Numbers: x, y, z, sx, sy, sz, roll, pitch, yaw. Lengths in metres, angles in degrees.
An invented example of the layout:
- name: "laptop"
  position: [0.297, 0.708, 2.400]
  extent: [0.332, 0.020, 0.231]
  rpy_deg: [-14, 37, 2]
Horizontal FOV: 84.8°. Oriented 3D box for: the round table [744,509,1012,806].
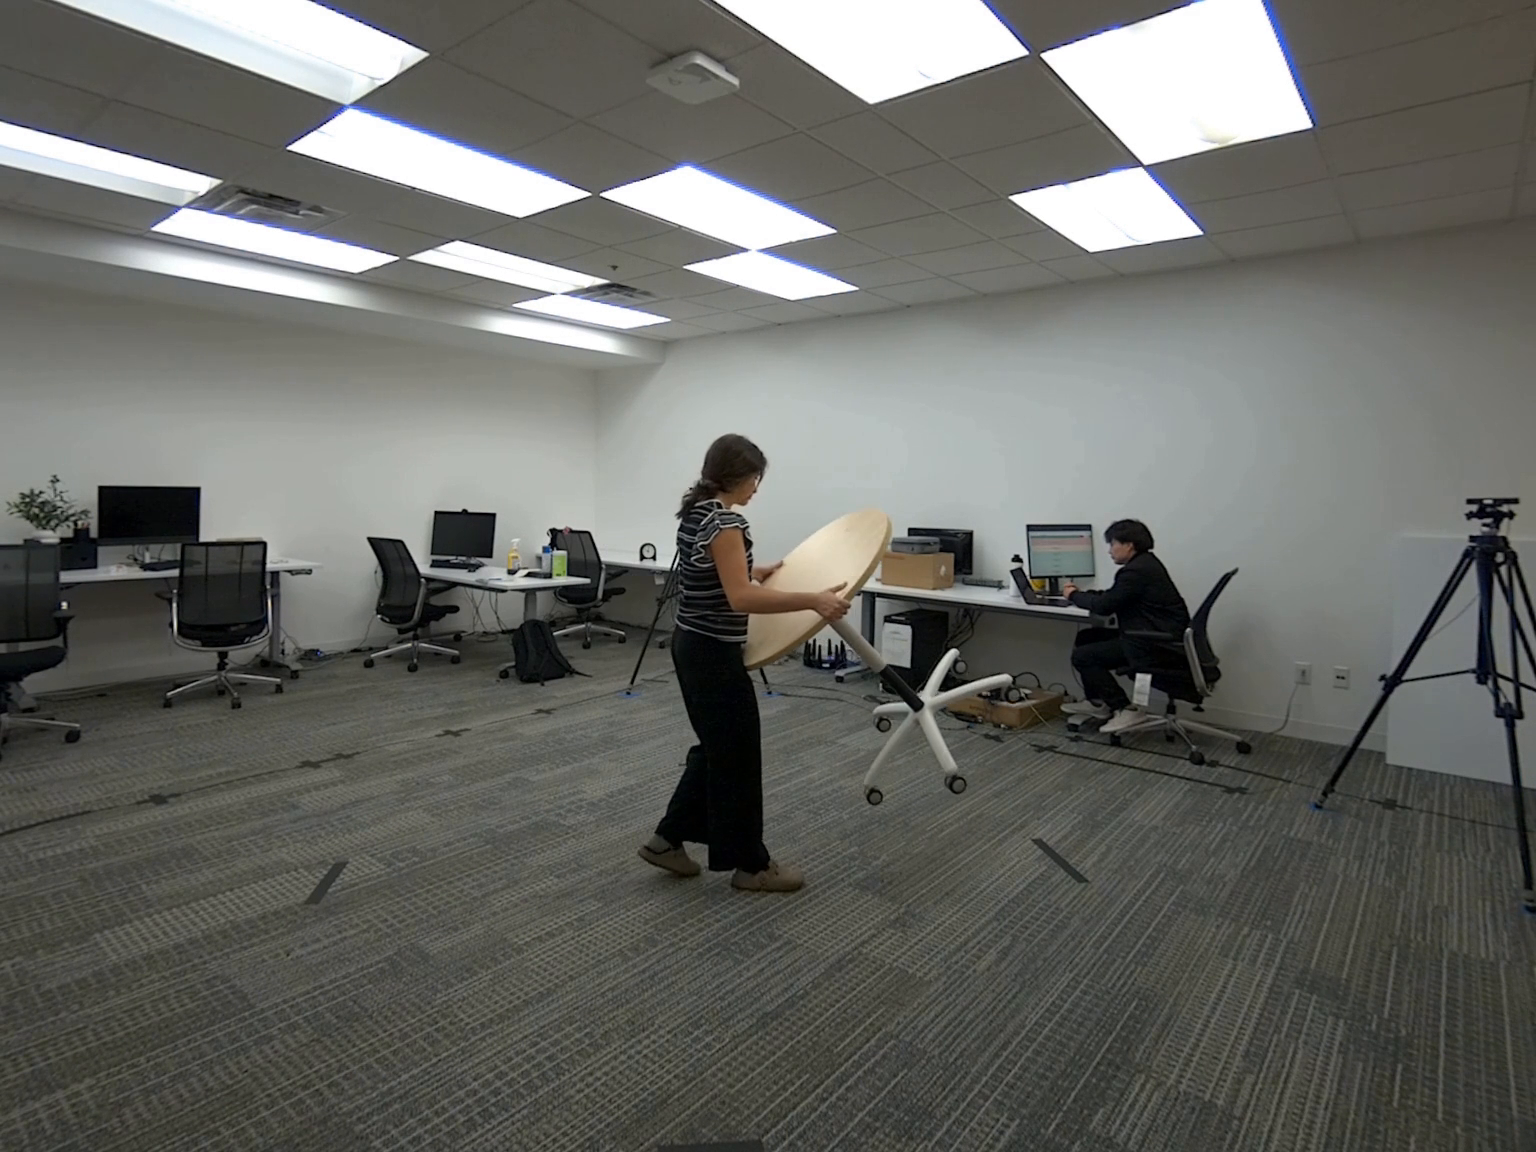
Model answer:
- name: "round table"
  position: [0.380, 0.314, 3.099]
  extent: [0.765, 0.779, 0.778]
  rpy_deg: [-41, 15, 11]
